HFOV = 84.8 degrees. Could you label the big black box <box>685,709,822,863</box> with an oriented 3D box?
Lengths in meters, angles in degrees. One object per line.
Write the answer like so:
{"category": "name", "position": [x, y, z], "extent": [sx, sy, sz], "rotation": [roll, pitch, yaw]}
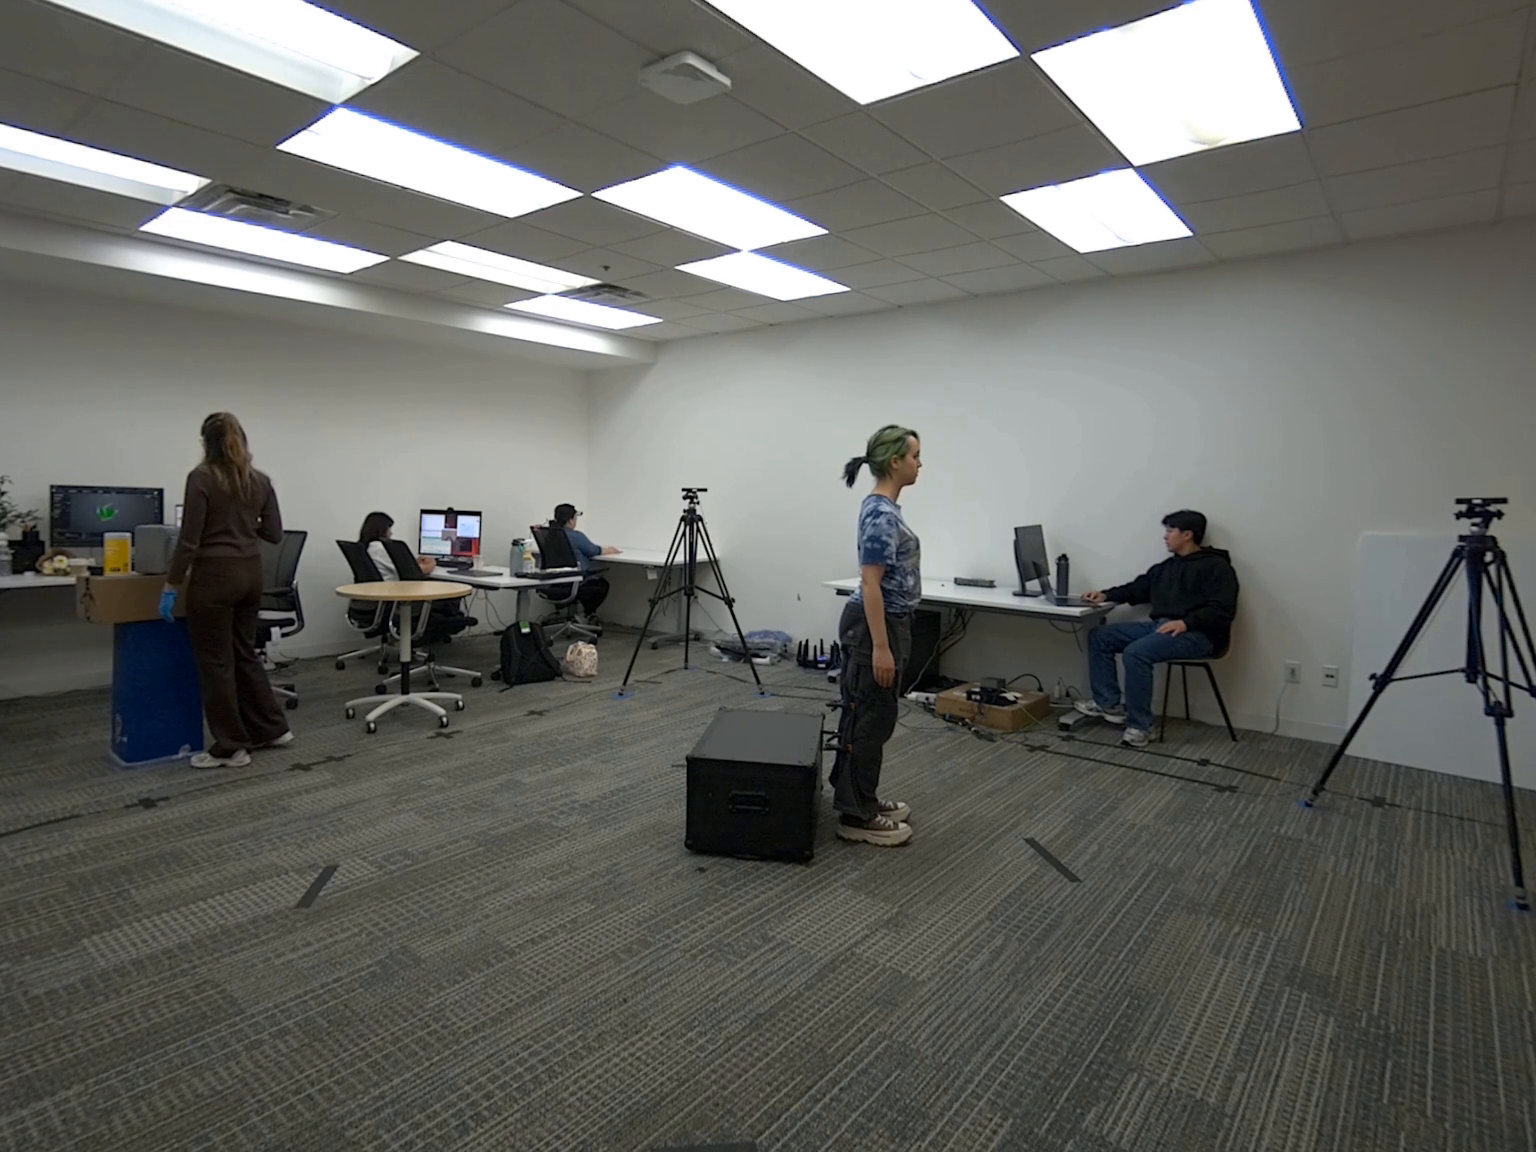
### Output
{"category": "big black box", "position": [-0.033, 0.831, 3.585], "extent": [0.526, 0.394, 0.857], "rotation": [1, 6, 7]}
